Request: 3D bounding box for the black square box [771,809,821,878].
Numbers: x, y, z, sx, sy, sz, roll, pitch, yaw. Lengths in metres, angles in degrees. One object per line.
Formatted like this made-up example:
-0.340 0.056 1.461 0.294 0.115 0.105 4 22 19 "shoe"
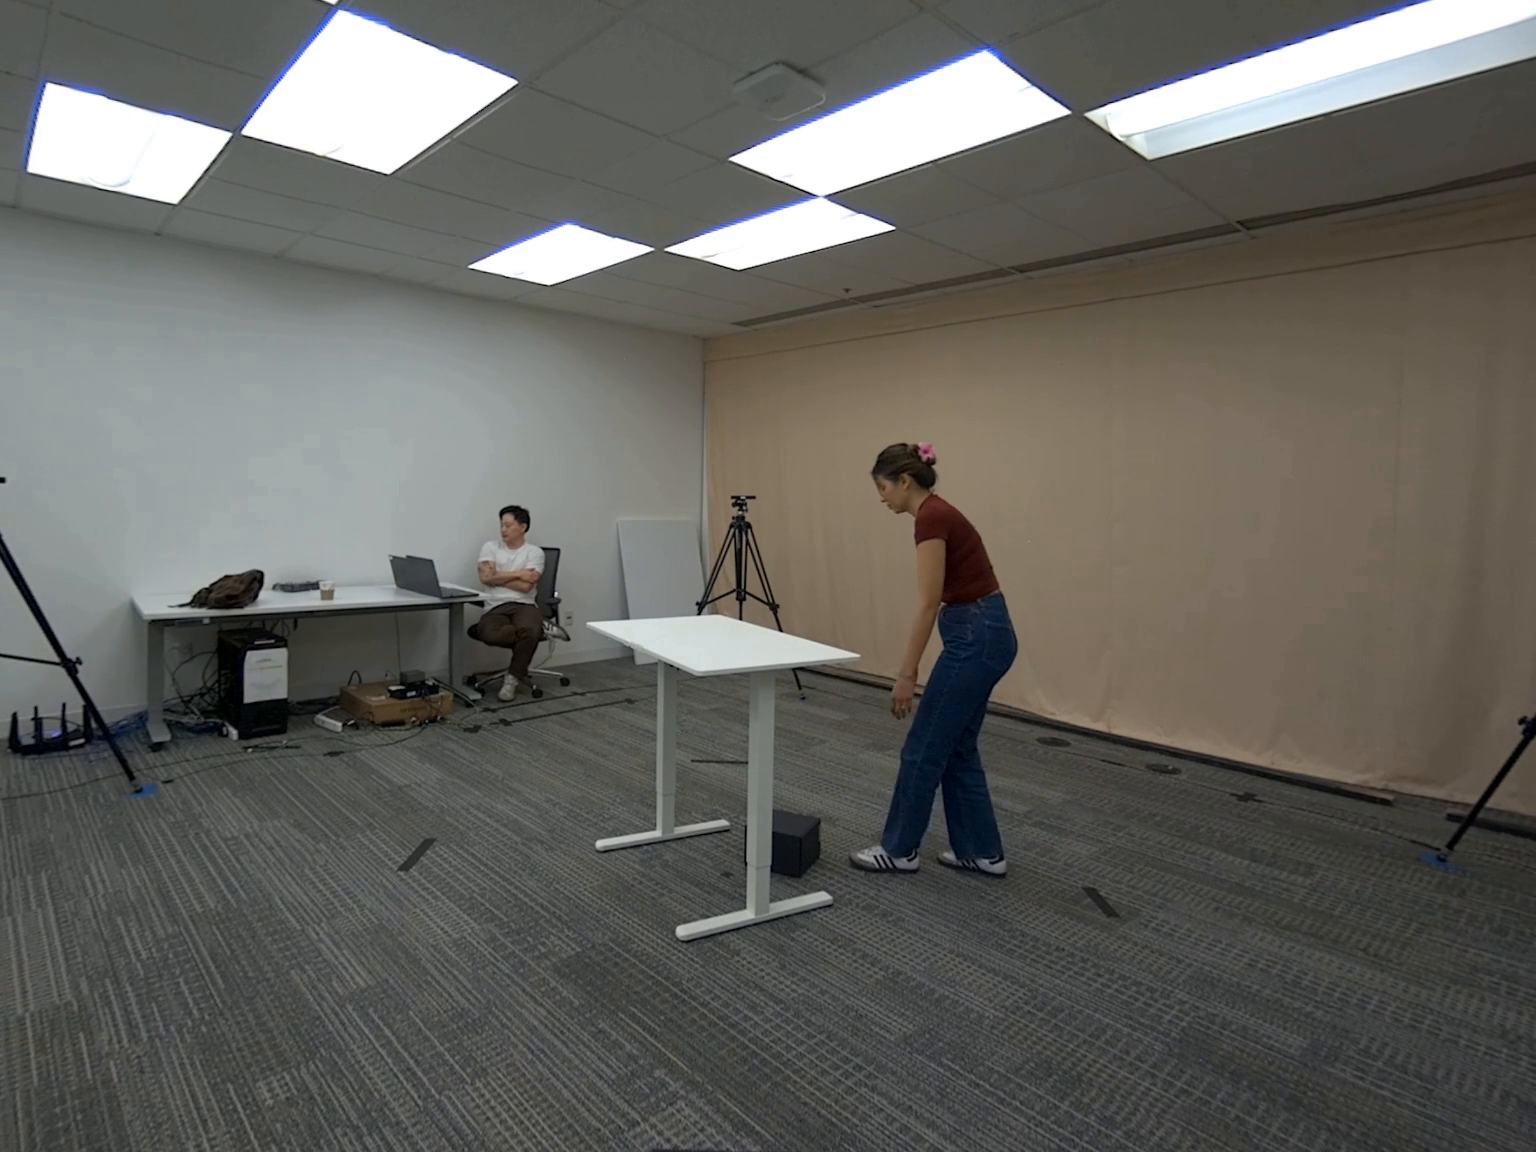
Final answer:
0.053 1.005 3.215 0.232 0.155 0.213 2 4 25 "black square box"
